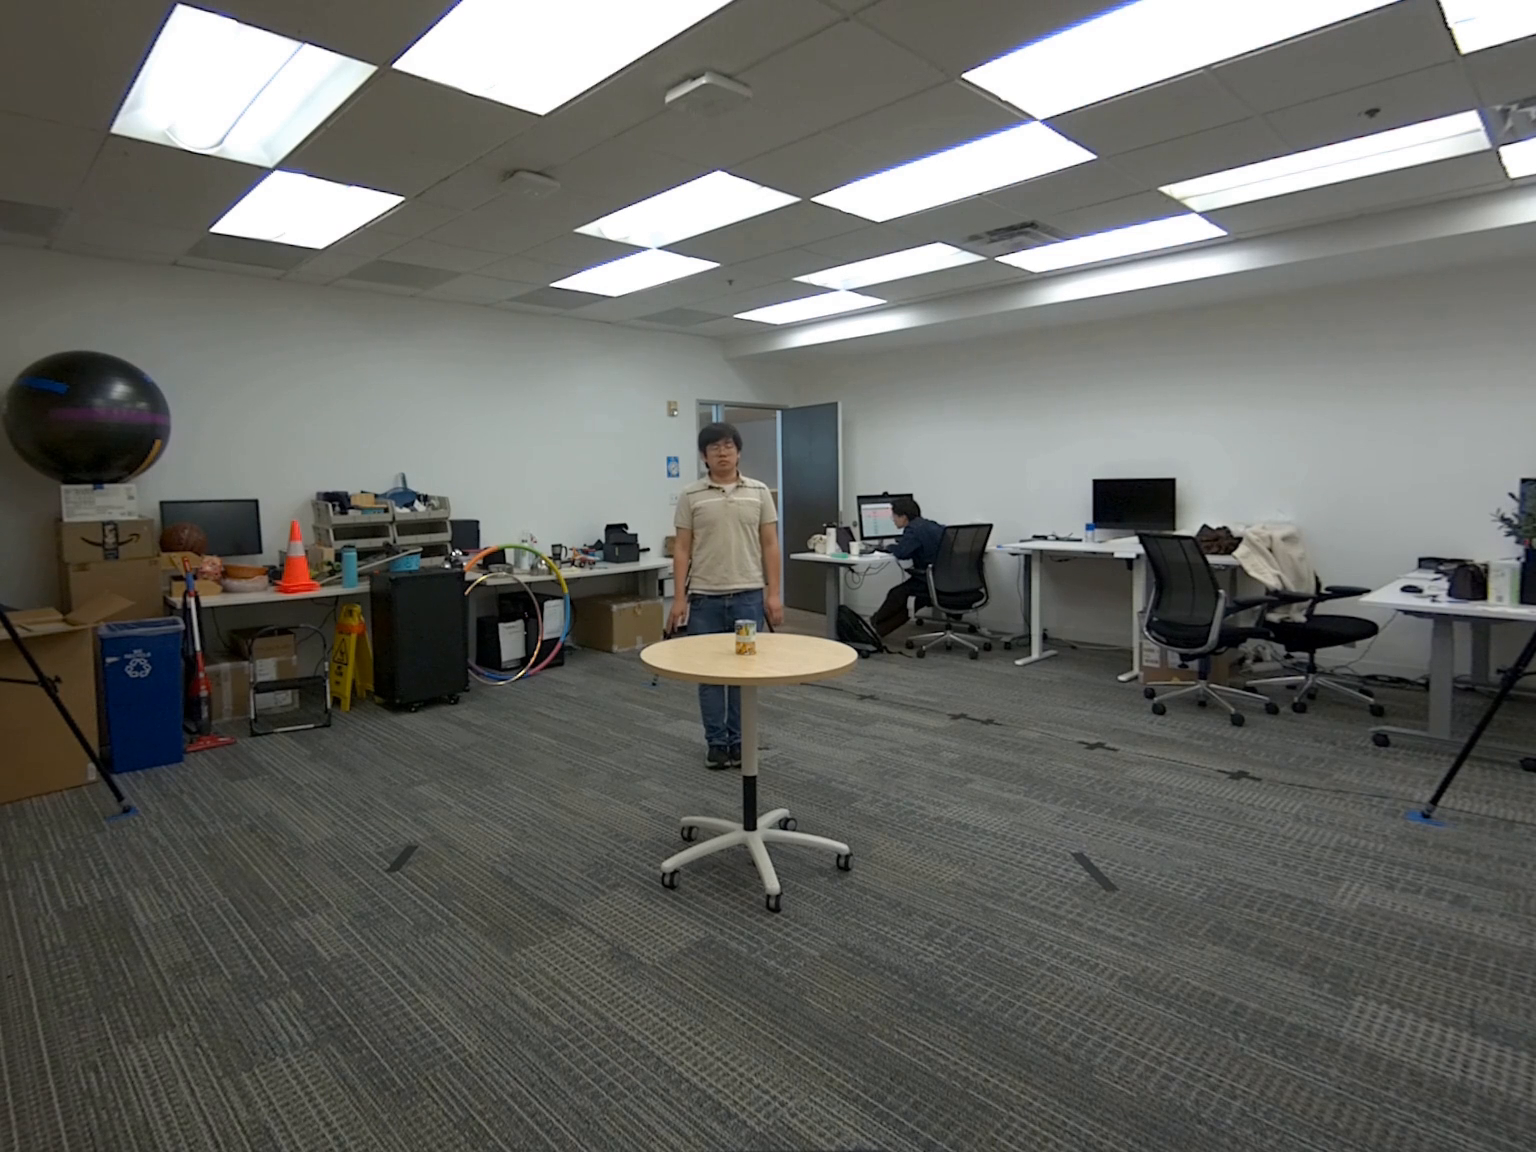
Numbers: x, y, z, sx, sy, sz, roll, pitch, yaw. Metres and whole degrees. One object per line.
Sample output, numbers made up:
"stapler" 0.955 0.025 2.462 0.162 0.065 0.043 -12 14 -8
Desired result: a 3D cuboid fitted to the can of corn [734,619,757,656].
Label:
"can of corn" -0.077 0.221 3.012 0.074 0.111 0.074 1 4 -2
